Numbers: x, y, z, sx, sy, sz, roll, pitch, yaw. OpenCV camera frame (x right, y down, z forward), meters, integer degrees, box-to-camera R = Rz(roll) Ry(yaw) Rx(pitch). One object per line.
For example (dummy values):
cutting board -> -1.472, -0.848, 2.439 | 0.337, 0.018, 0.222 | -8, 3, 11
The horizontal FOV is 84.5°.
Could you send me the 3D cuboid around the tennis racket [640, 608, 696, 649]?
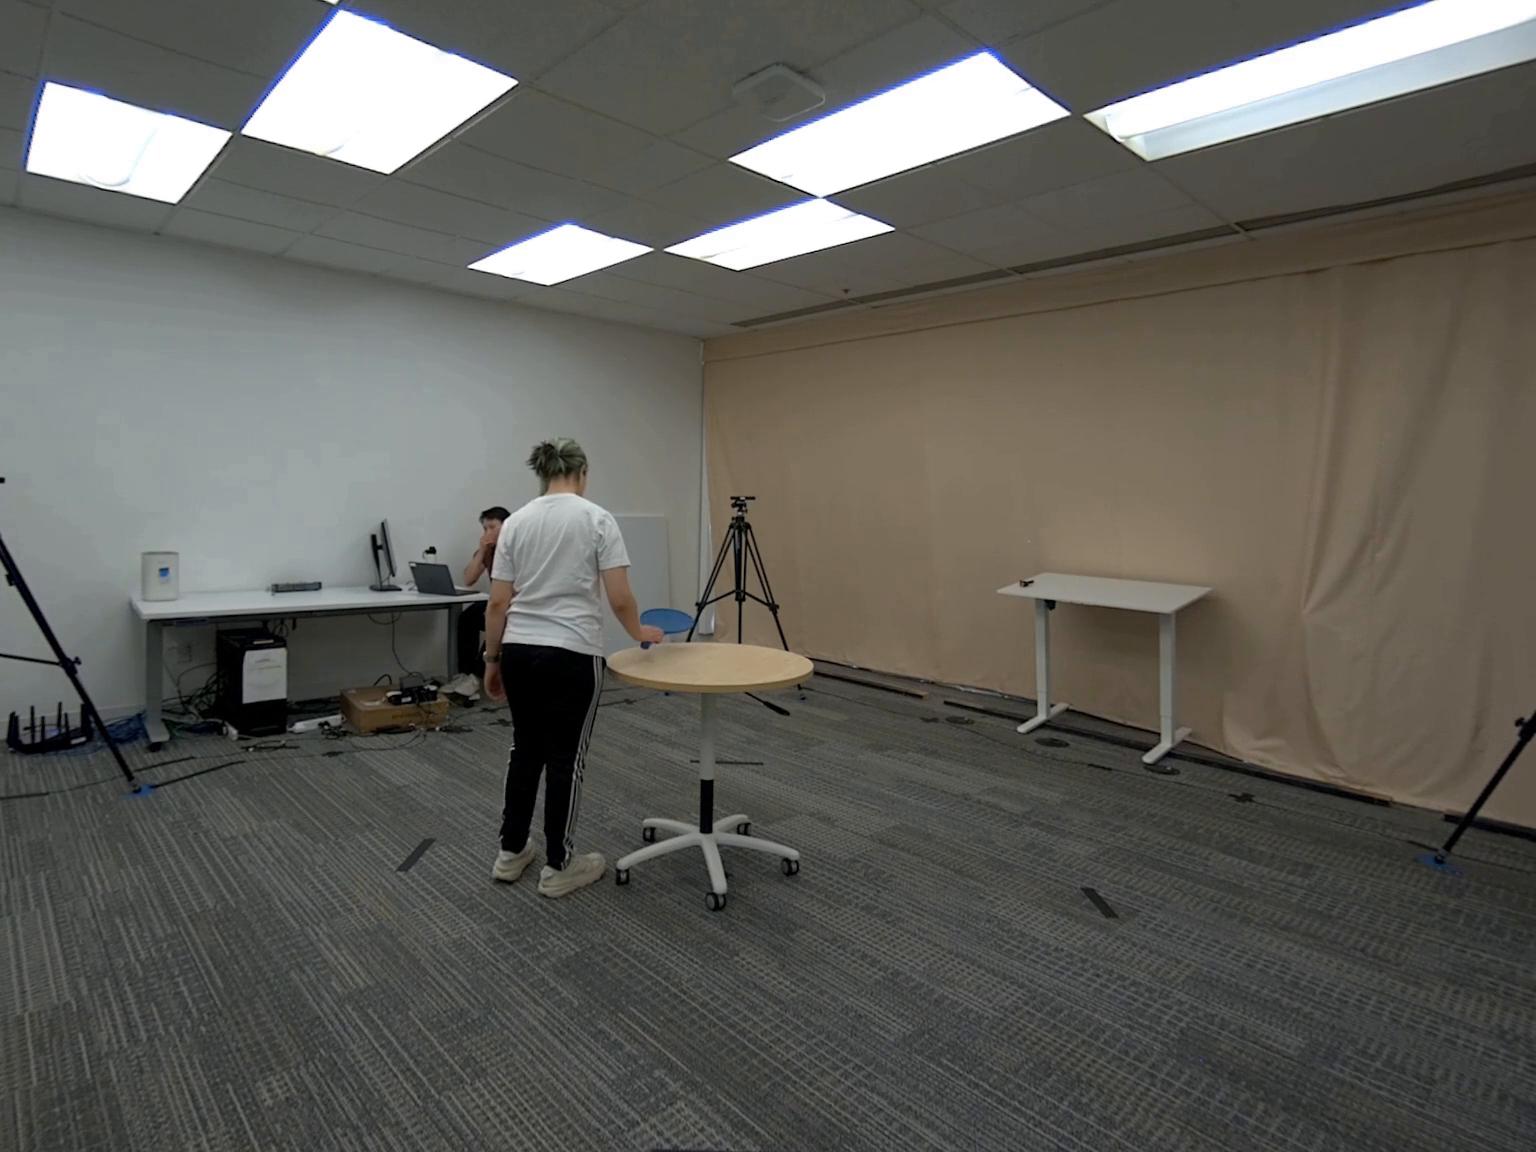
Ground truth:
tennis racket -> -0.439, 0.203, 3.256 | 0.217, 0.031, 0.431 | 14, 17, 13
